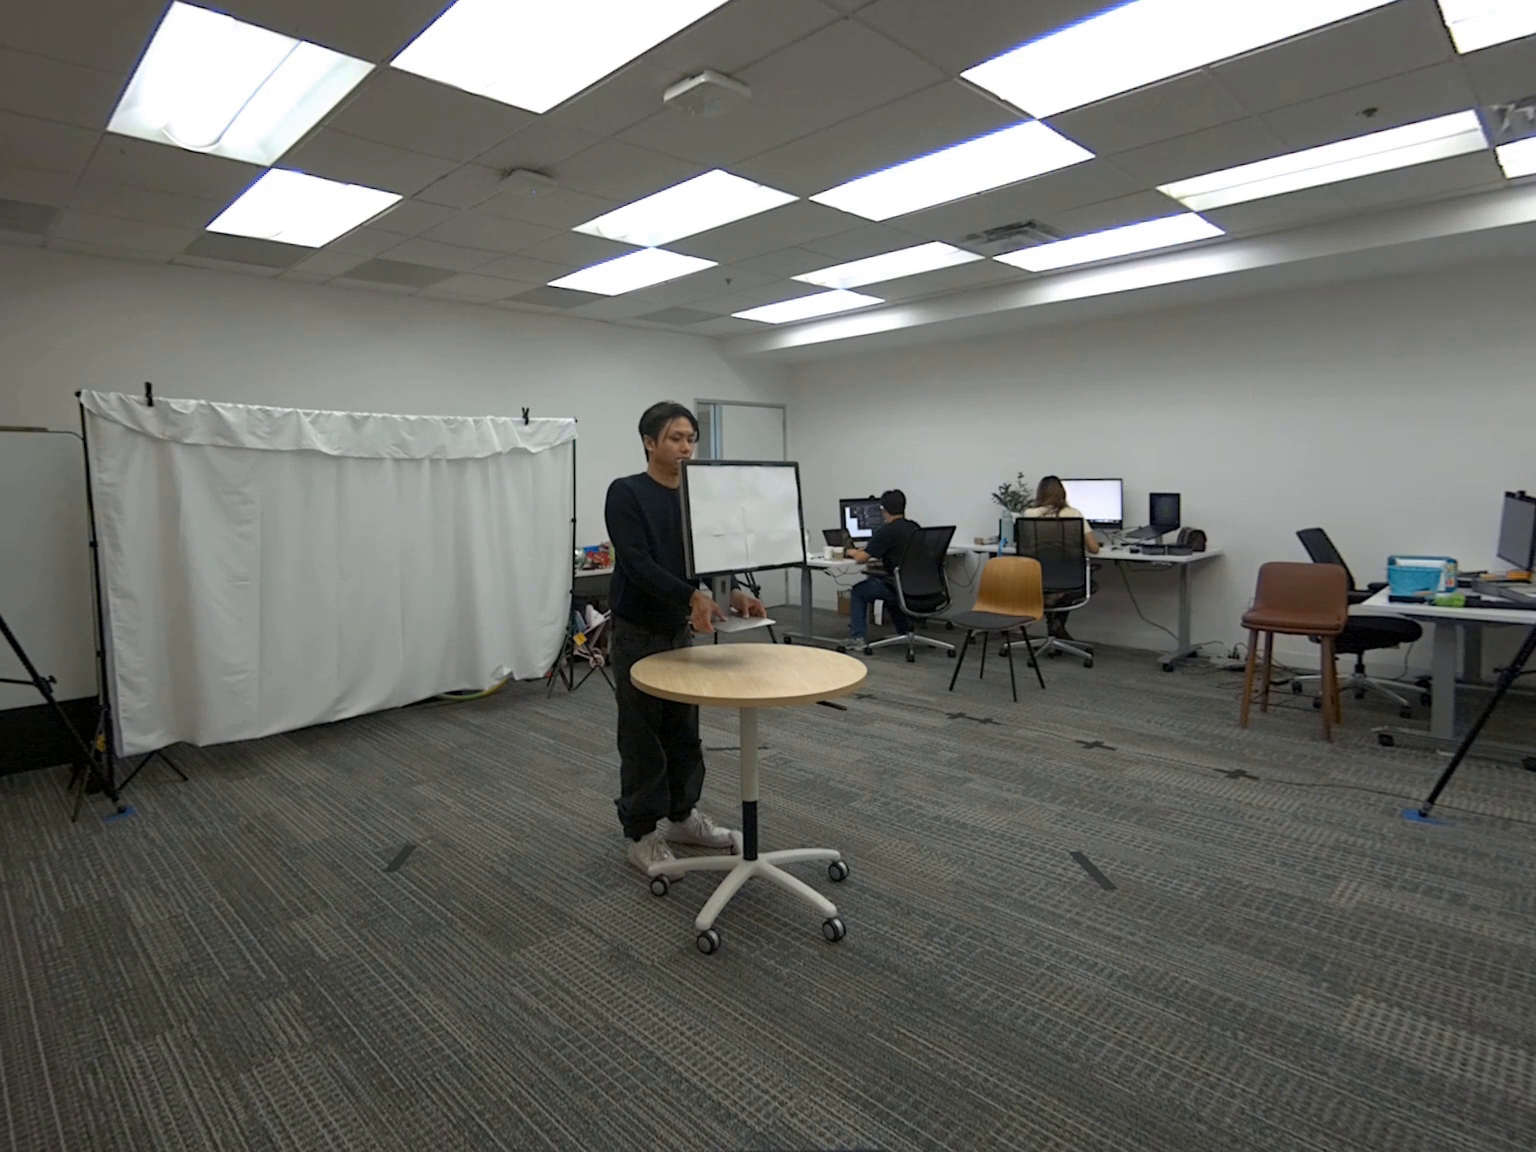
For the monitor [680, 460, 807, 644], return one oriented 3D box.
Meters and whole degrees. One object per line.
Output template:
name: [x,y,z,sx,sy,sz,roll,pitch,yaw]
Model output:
monitor: [-0.099,-0.109,2.813,0.193,0.519,0.525,10,11,40]
